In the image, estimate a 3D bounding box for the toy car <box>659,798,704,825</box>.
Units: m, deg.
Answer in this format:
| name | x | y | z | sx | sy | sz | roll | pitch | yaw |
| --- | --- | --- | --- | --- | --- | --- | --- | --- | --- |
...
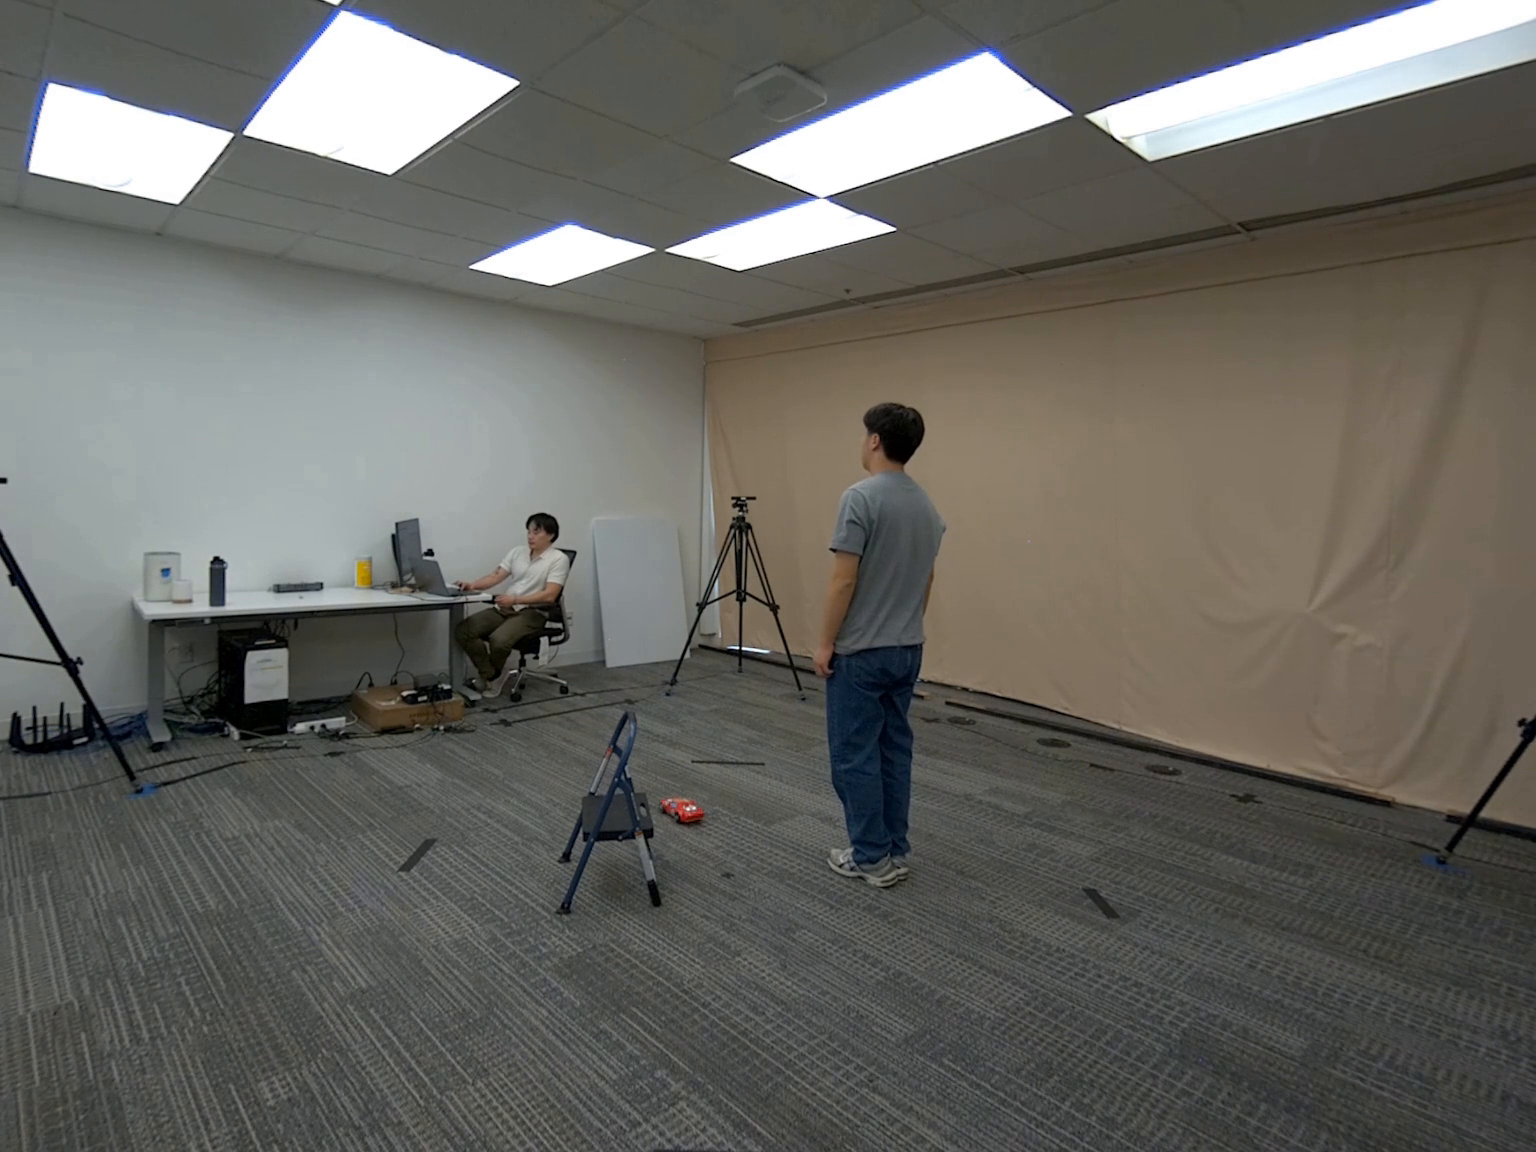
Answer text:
| name | x | y | z | sx | sy | sz | roll | pitch | yaw |
| --- | --- | --- | --- | --- | --- | --- | --- | --- | --- |
| toy car | -0.381 | 1.019 | 3.662 | 0.127 | 0.083 | 0.259 | 0 | -6 | -34 |
